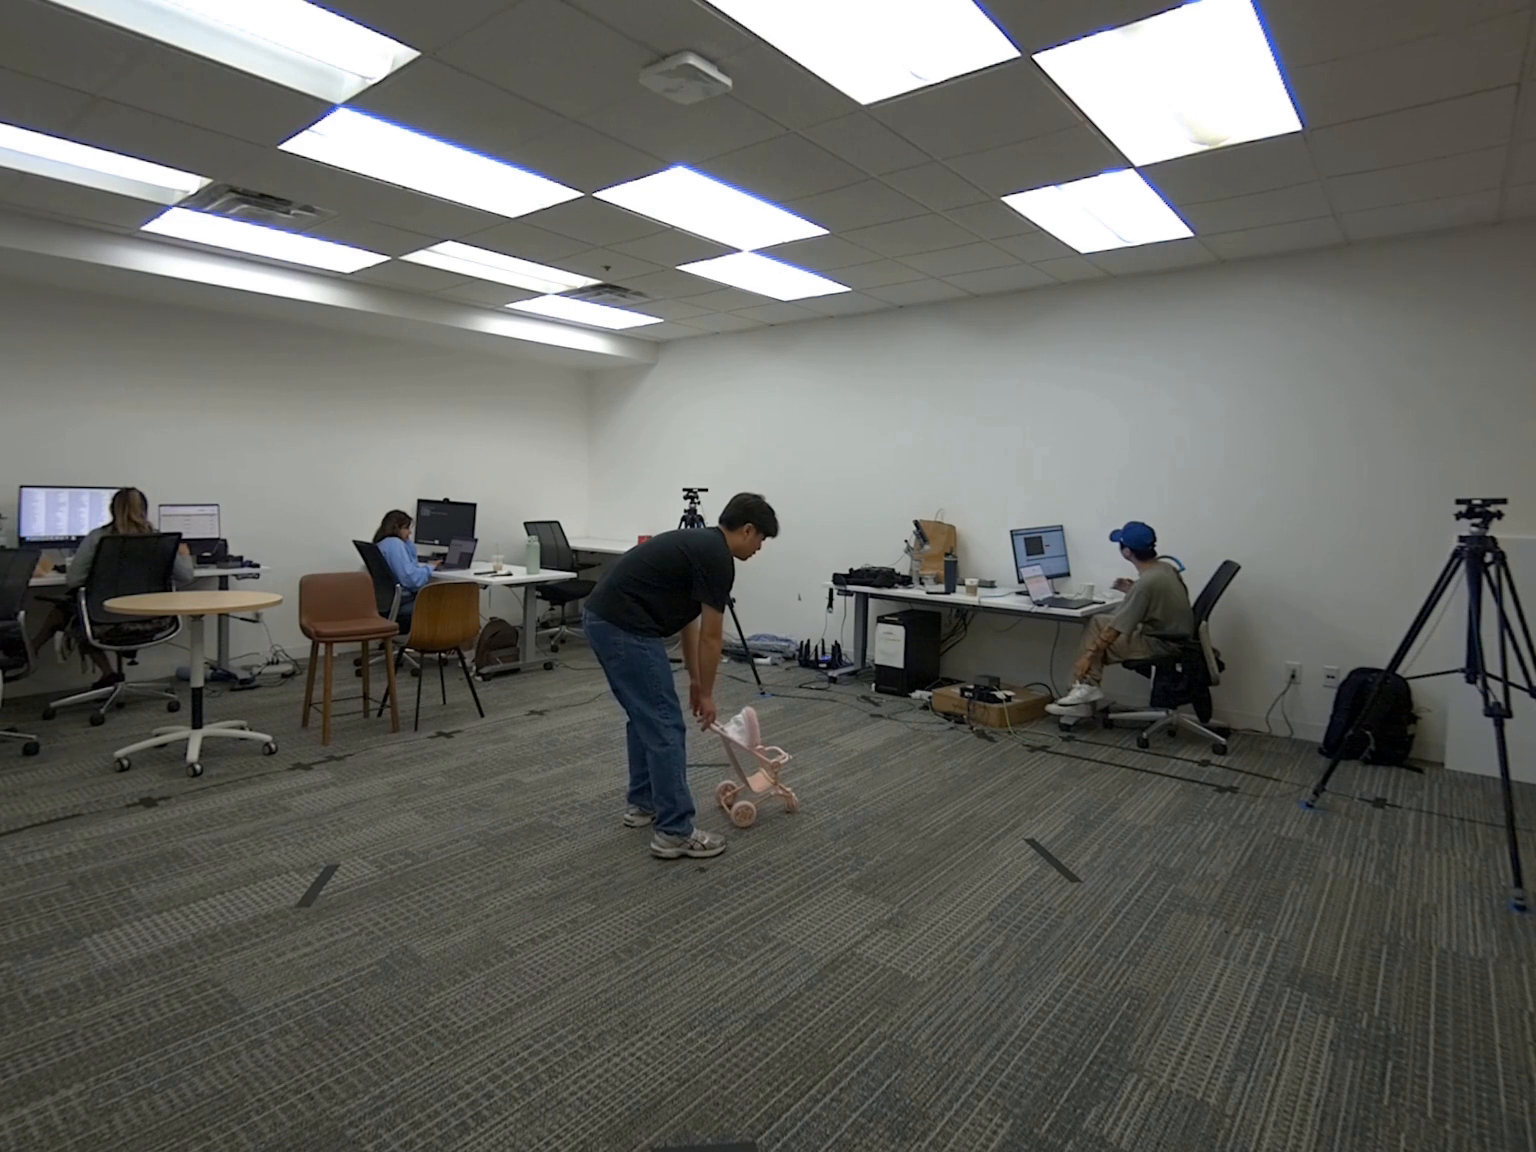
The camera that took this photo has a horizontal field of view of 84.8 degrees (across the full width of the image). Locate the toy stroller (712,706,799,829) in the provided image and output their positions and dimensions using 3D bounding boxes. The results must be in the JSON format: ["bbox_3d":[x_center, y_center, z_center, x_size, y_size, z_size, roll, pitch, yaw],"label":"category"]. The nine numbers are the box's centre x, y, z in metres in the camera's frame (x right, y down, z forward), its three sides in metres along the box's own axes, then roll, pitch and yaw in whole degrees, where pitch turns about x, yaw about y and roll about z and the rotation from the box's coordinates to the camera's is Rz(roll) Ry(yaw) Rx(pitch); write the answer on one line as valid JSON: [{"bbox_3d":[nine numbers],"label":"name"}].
[{"bbox_3d":[-0.081,0.799,3.630,0.338,0.531,0.286,-15,6,-11],"label":"toy stroller"}]
